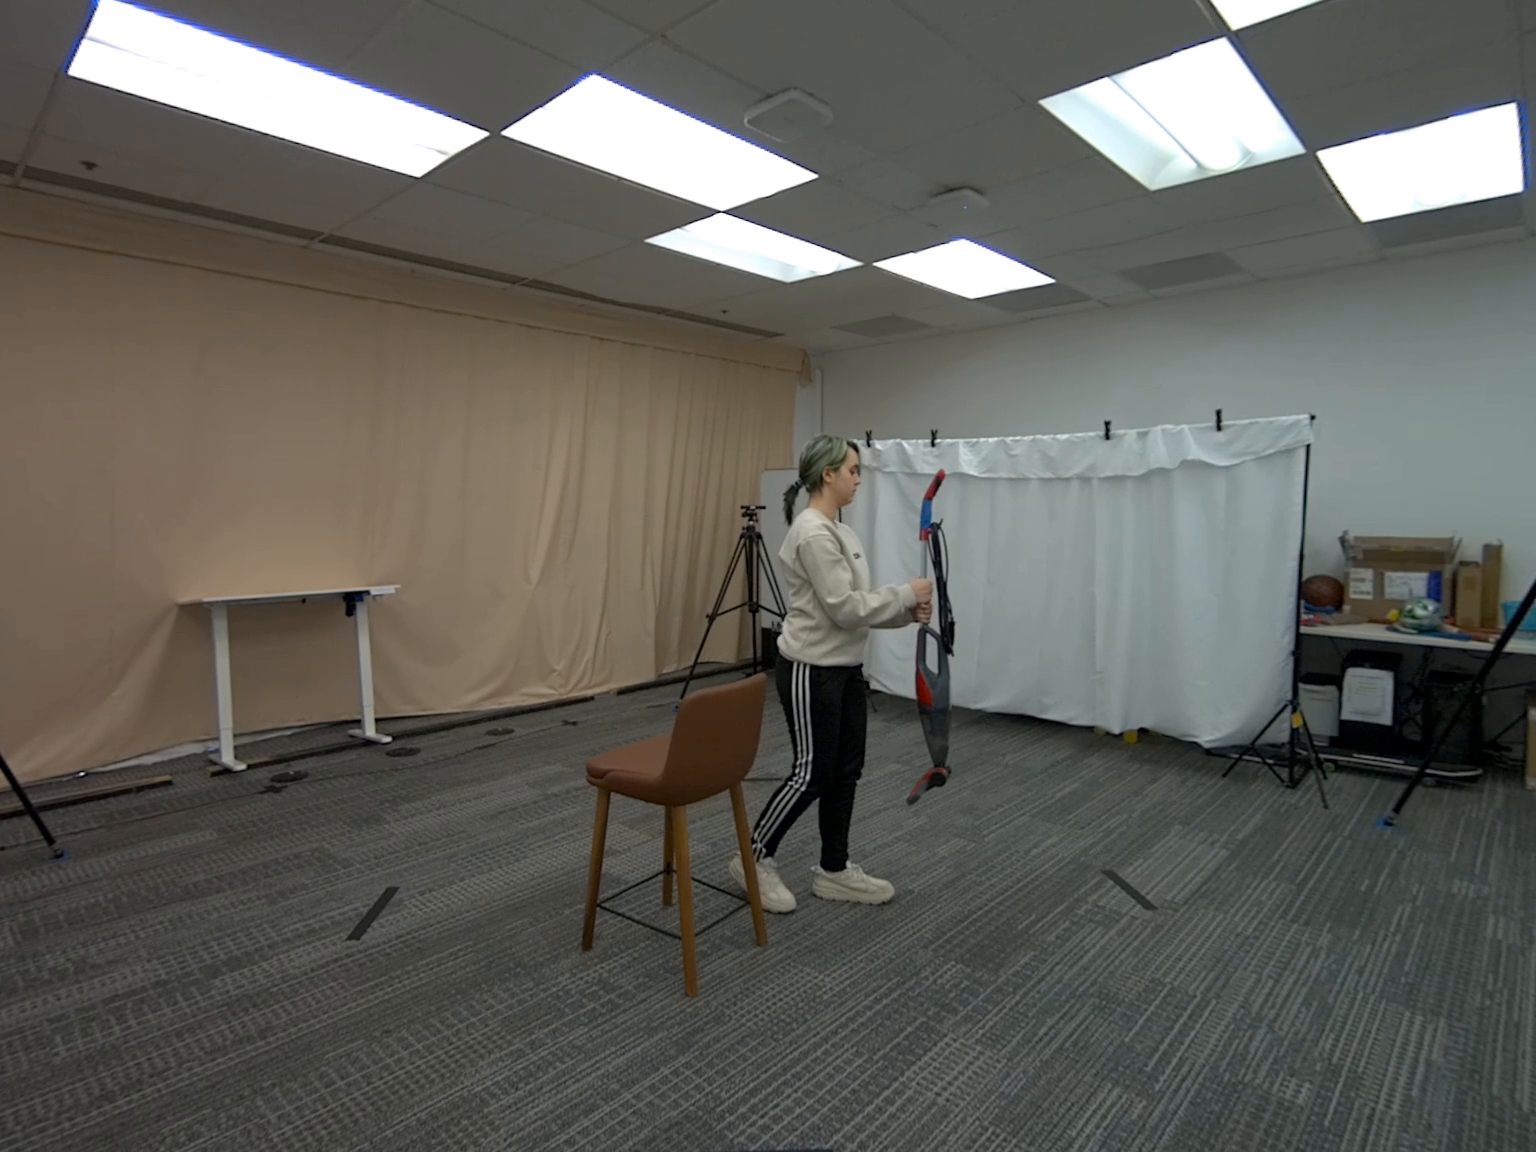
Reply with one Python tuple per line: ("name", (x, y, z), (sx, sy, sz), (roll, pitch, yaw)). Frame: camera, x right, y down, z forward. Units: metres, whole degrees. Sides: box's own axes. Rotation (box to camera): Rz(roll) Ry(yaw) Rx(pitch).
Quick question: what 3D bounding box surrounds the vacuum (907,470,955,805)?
("vacuum", (0.577, 0.181, 2.825), (0.147, 1.048, 0.248), (4, 2, 18))
